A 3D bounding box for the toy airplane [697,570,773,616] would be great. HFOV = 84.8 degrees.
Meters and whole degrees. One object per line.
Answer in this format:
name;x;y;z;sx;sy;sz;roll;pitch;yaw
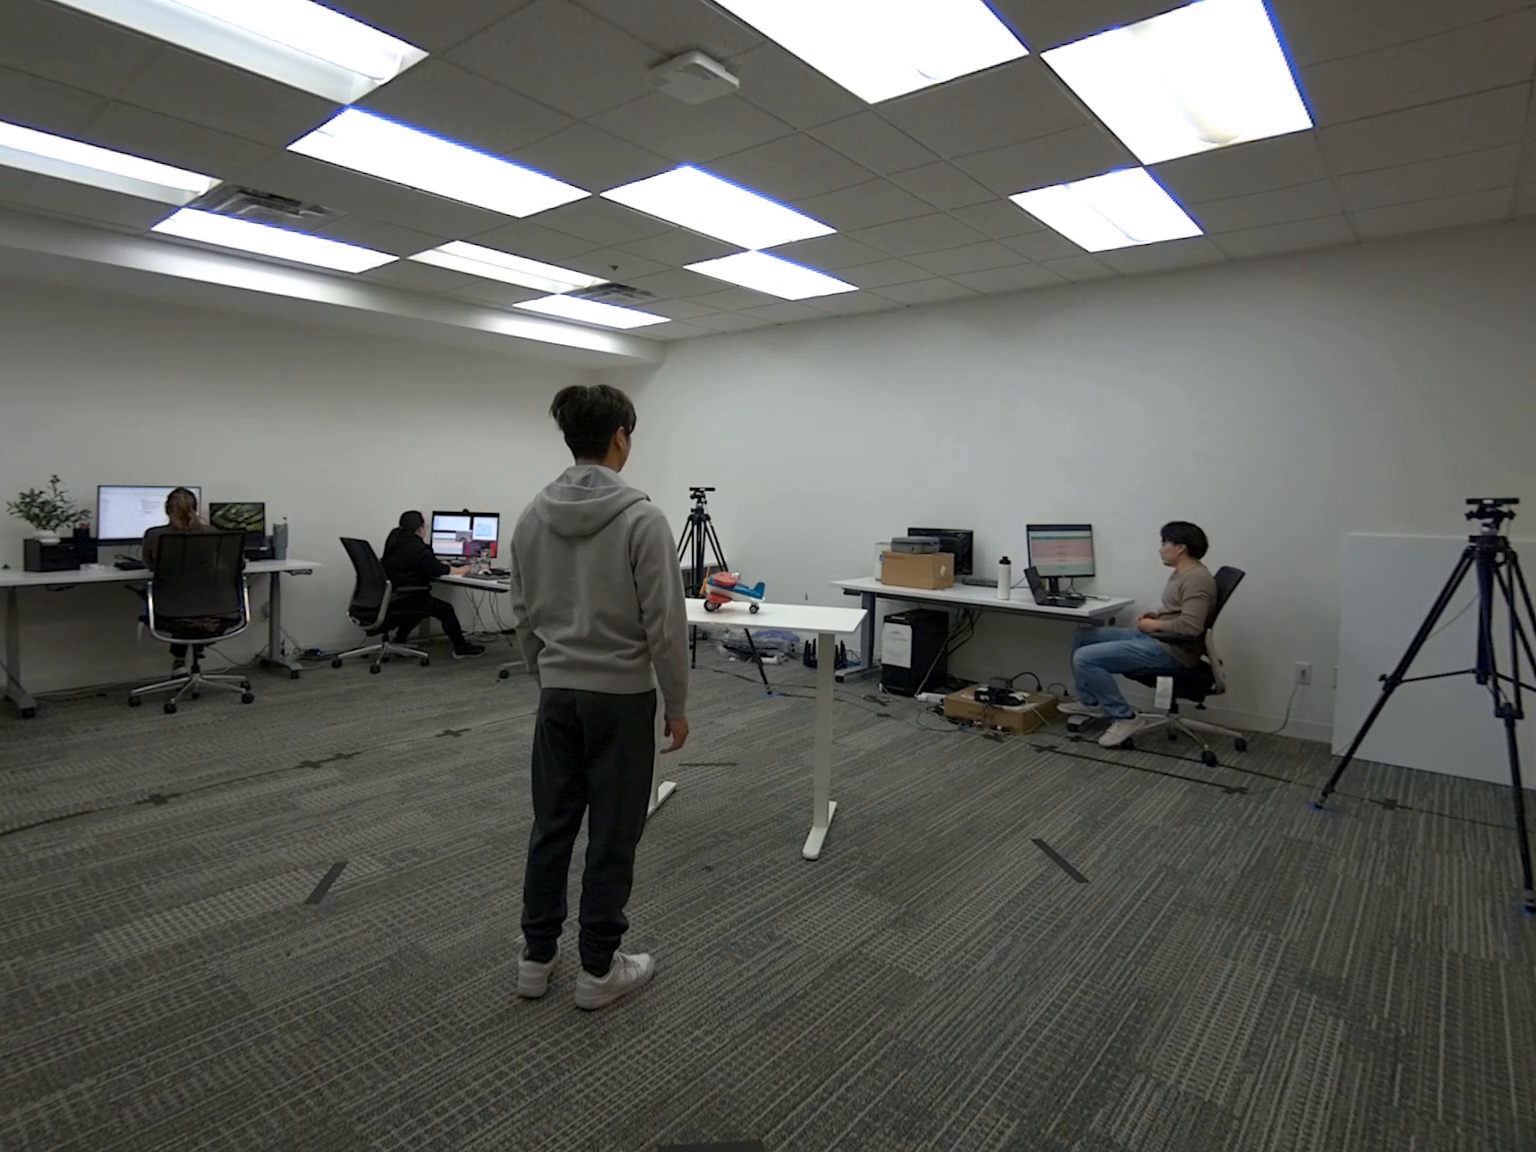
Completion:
toy airplane;-0.147;0.067;3.546;0.255;0.156;0.256;0;5;-15
